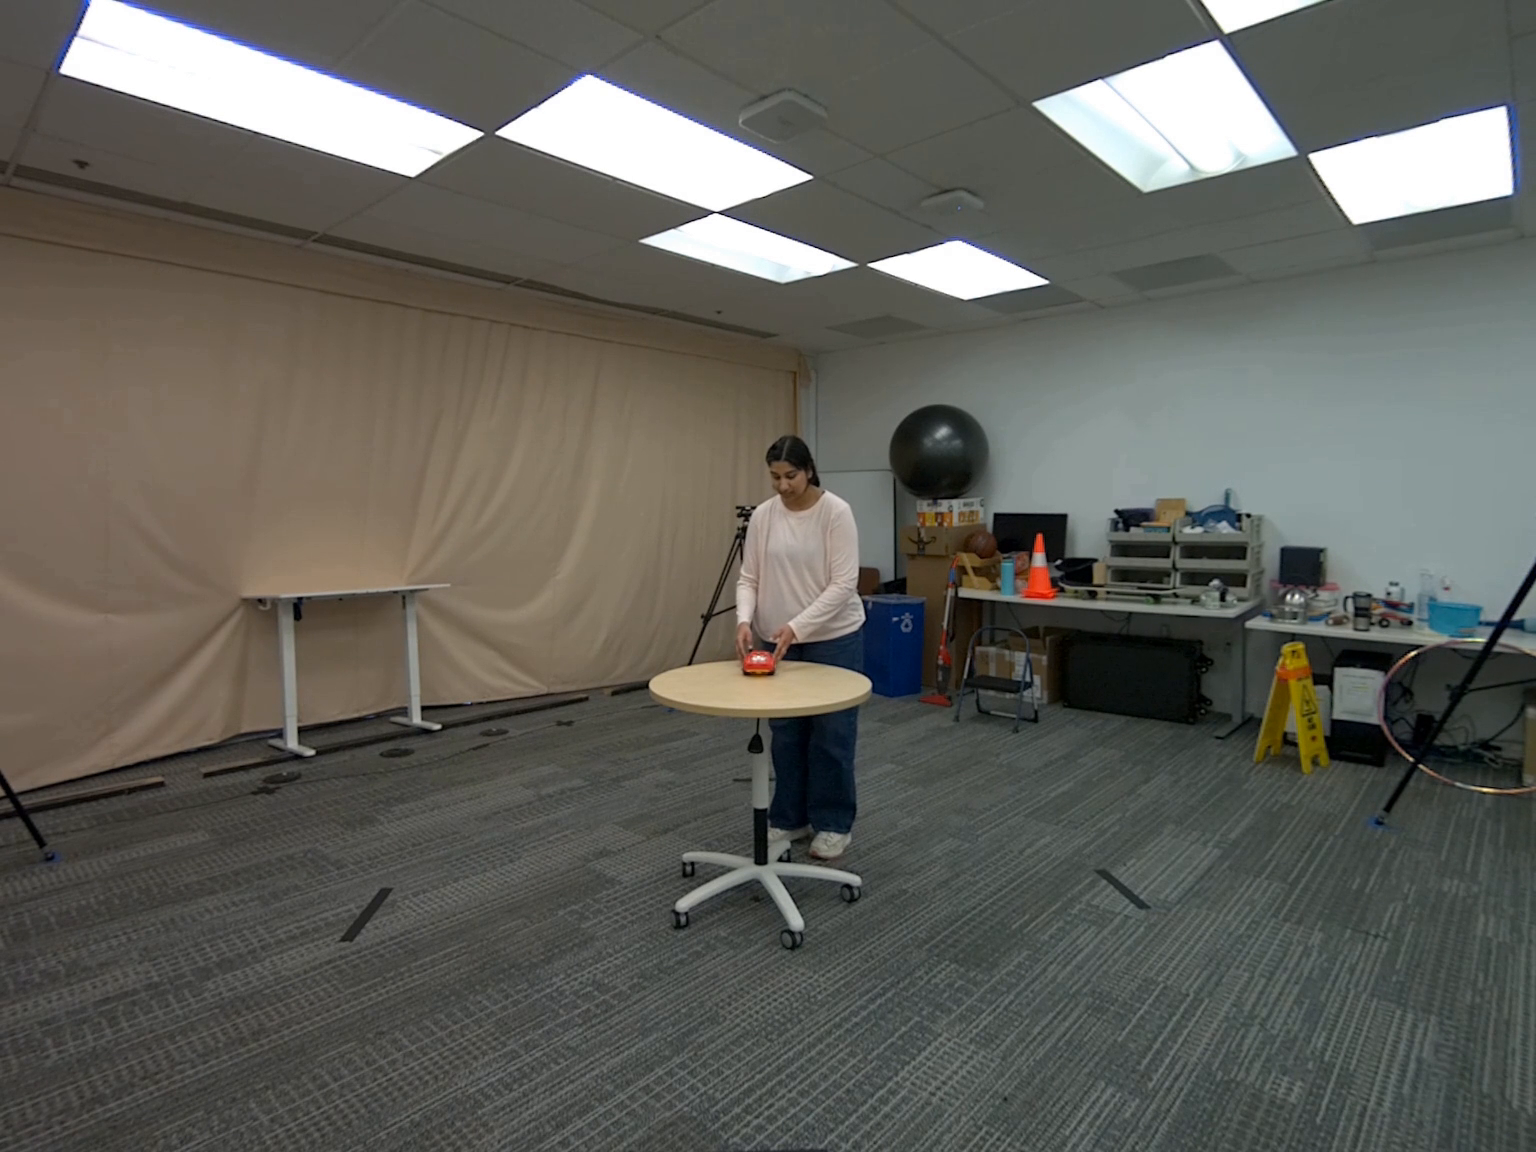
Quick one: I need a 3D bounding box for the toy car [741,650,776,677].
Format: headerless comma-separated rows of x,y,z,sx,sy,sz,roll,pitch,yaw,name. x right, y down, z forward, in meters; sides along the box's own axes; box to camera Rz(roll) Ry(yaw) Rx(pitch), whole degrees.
-0.033,0.319,3.071,0.131,0.083,0.252,-1,-7,4,toy car
